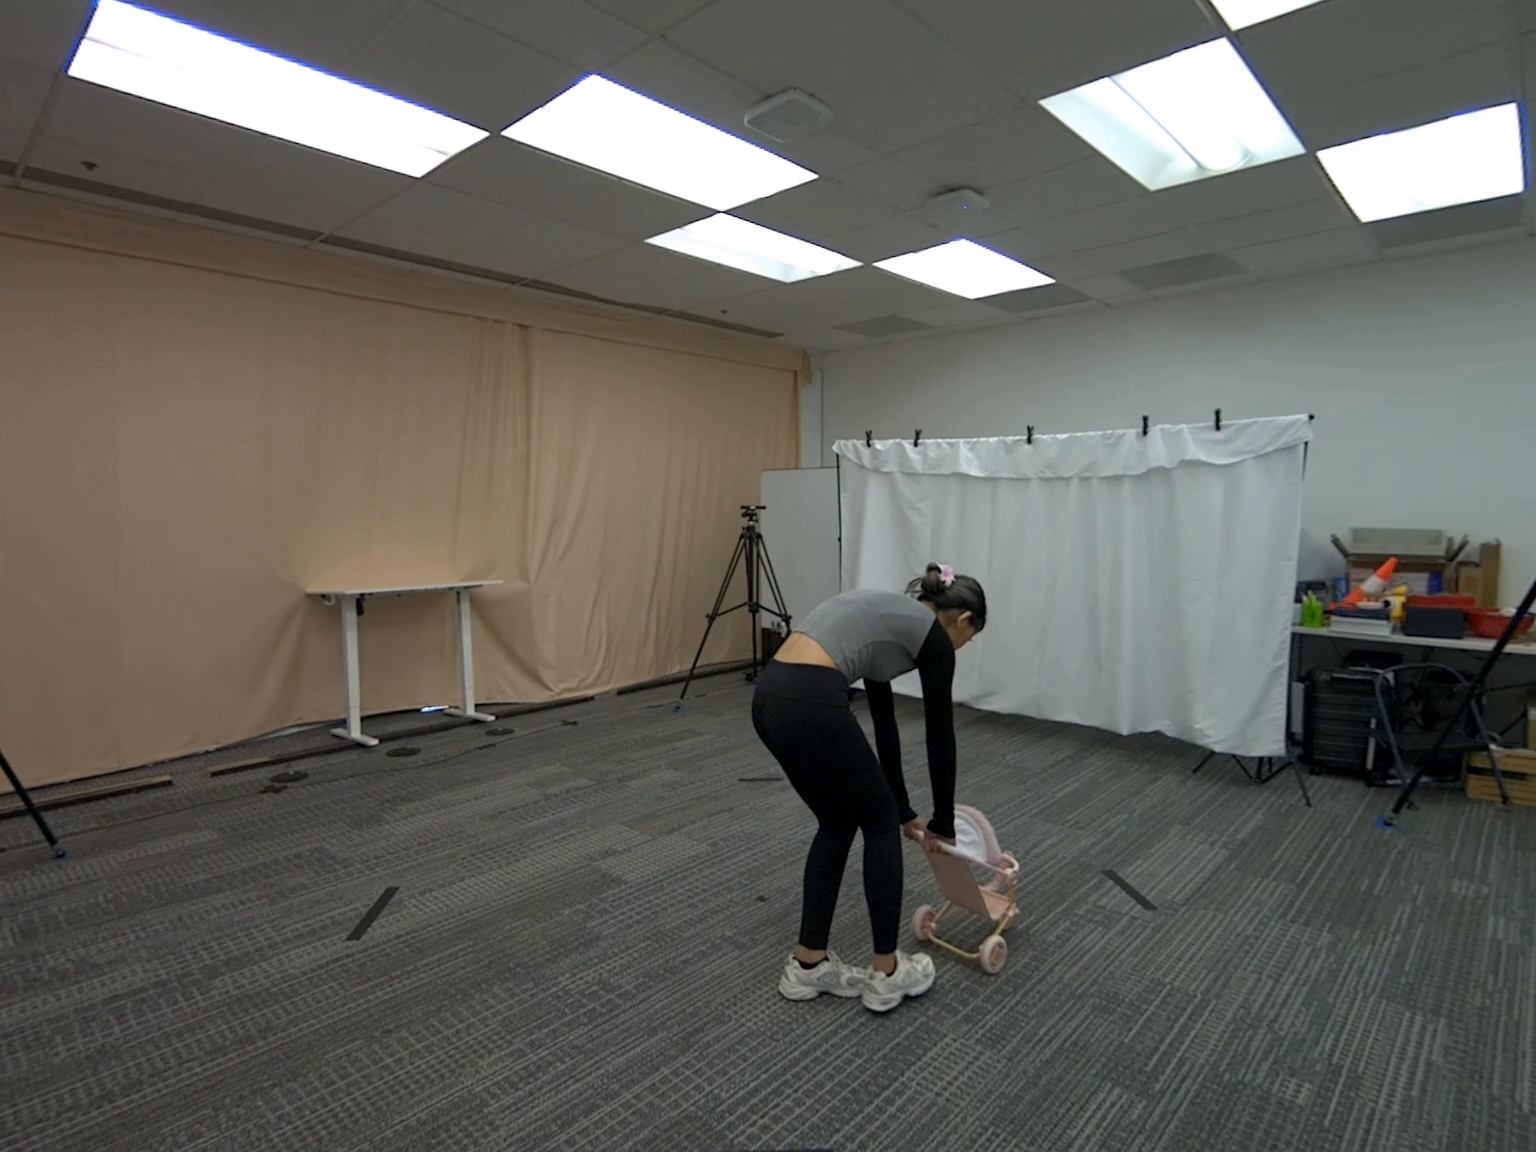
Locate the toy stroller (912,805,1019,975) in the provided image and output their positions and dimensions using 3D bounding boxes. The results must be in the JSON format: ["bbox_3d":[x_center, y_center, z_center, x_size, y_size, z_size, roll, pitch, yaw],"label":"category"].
[{"bbox_3d":[0.635,0.946,2.627,0.334,0.529,0.290,-23,17,-35],"label":"toy stroller"}]
